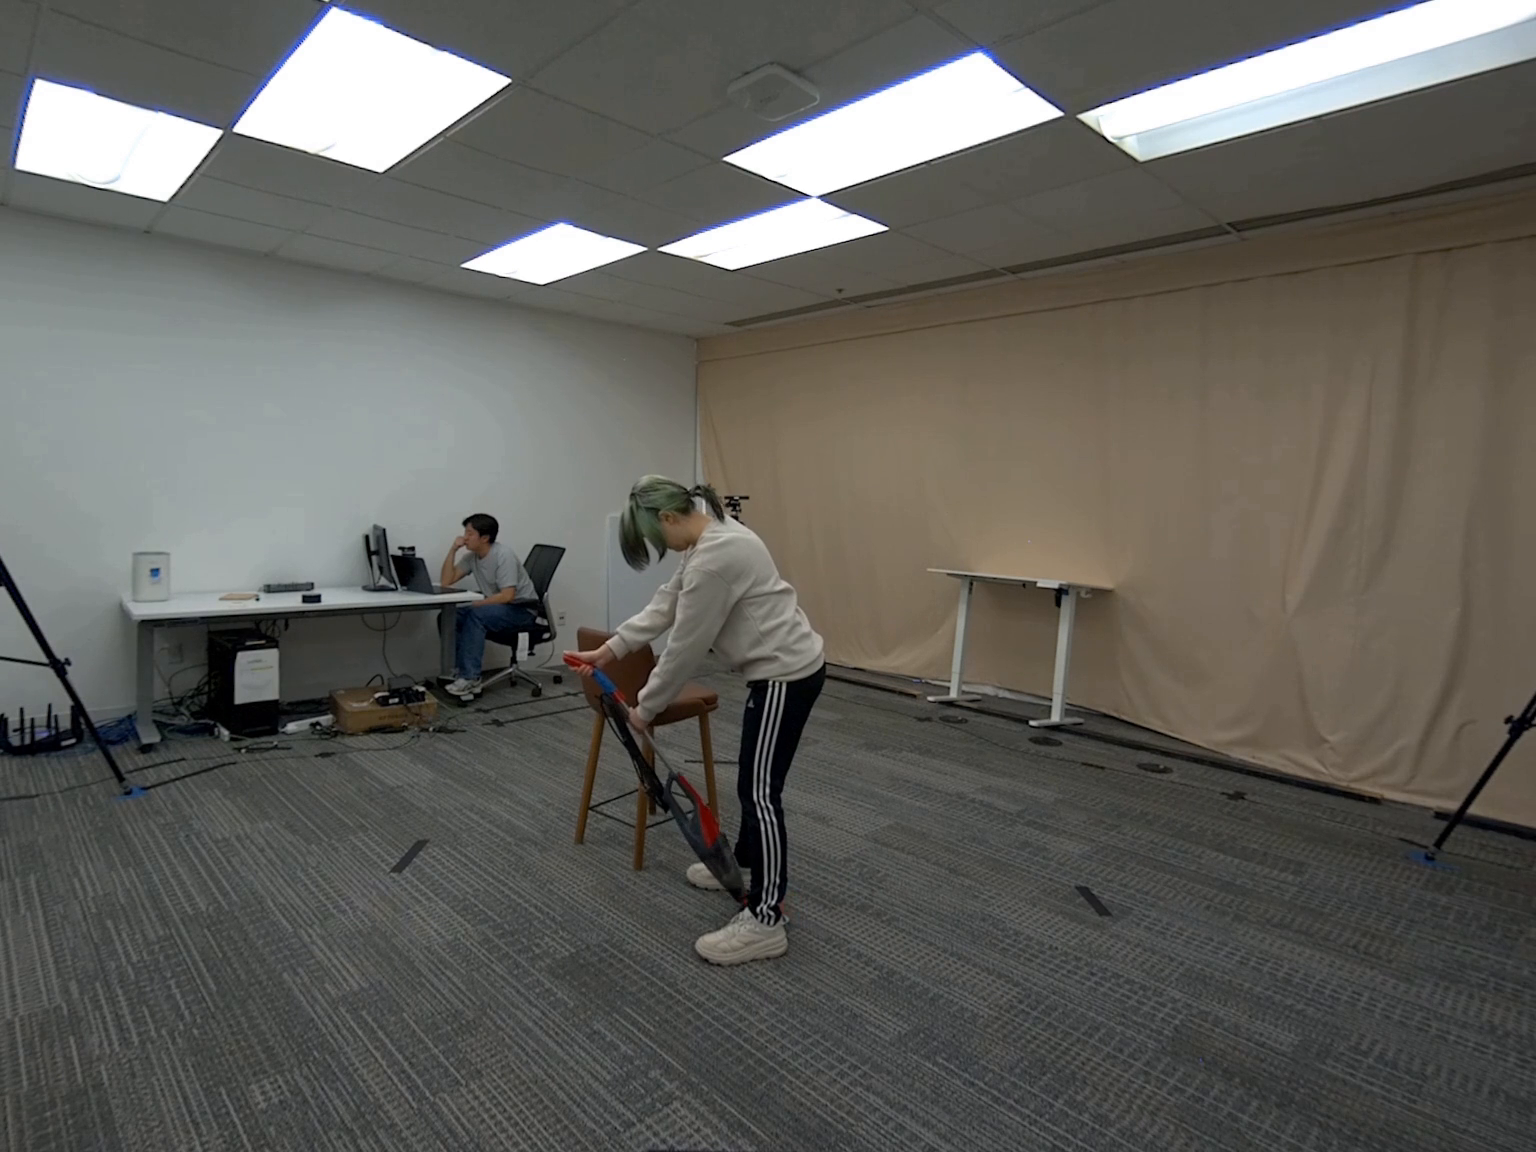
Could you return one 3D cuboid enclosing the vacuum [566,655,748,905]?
[{"bbox_3d":[-0.353,0.690,2.794,0.144,1.050,0.252,-39,-1,6],"label":"vacuum"}]
